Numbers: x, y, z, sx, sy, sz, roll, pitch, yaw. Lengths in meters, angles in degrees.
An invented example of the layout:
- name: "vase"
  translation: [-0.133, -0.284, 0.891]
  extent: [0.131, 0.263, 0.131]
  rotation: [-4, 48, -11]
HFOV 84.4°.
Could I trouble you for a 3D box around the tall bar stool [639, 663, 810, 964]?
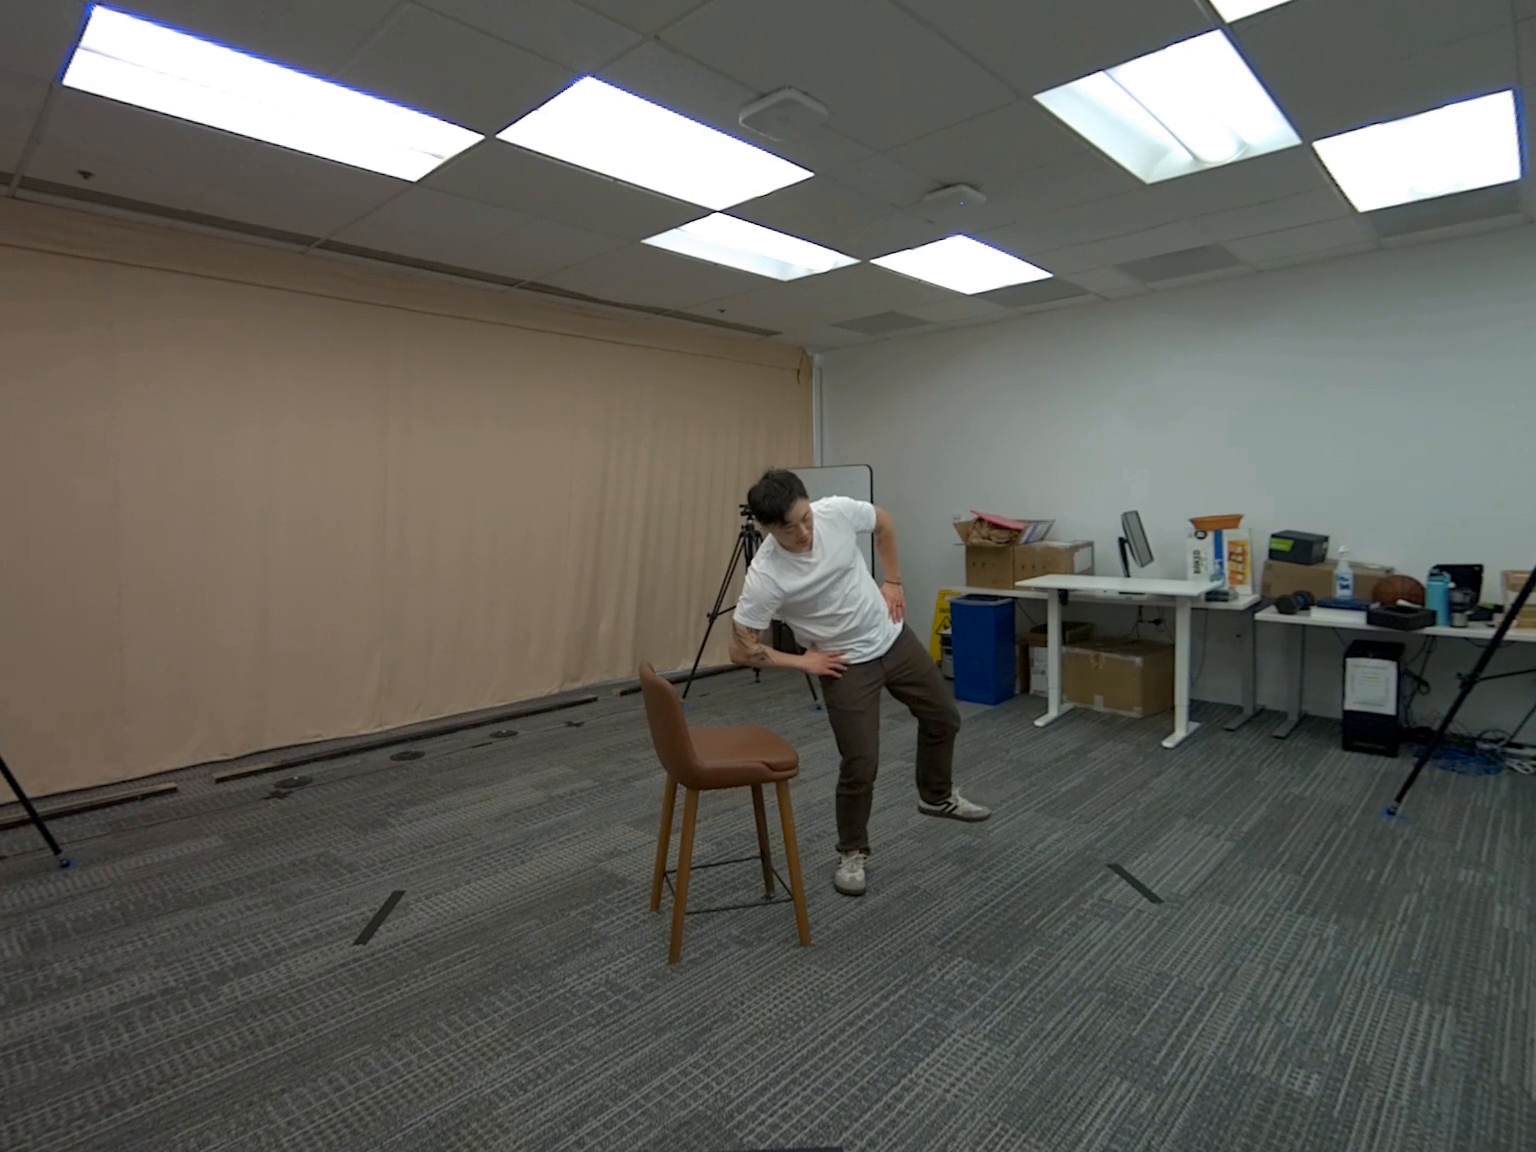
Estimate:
- name: "tall bar stool"
  translation: [-0.148, 0.724, 2.764]
  extent: [0.460, 0.888, 0.465]
  rotation: [-3, 4, -16]
